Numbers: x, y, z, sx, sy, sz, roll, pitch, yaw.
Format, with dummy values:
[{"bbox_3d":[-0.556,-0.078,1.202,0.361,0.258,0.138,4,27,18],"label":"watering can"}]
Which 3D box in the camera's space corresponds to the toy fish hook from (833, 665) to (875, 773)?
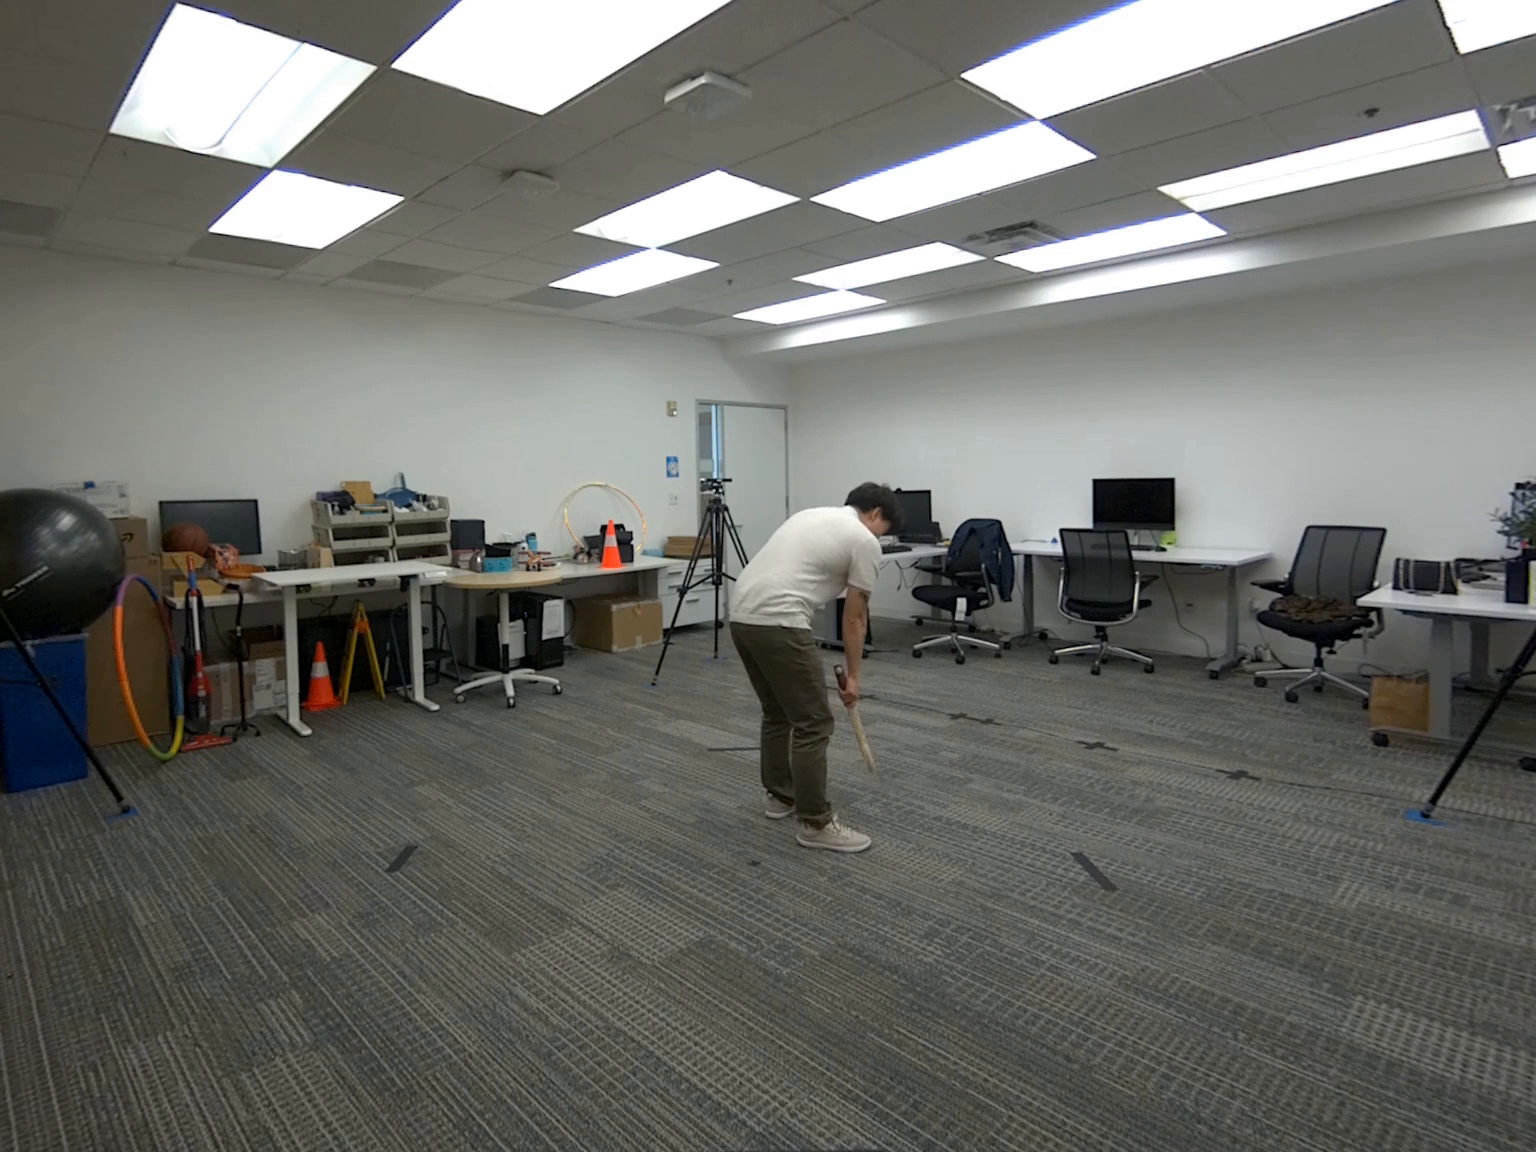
[{"bbox_3d":[0.360,0.580,3.451,0.048,0.492,0.231,-22,26,-1],"label":"toy fish hook"}]
